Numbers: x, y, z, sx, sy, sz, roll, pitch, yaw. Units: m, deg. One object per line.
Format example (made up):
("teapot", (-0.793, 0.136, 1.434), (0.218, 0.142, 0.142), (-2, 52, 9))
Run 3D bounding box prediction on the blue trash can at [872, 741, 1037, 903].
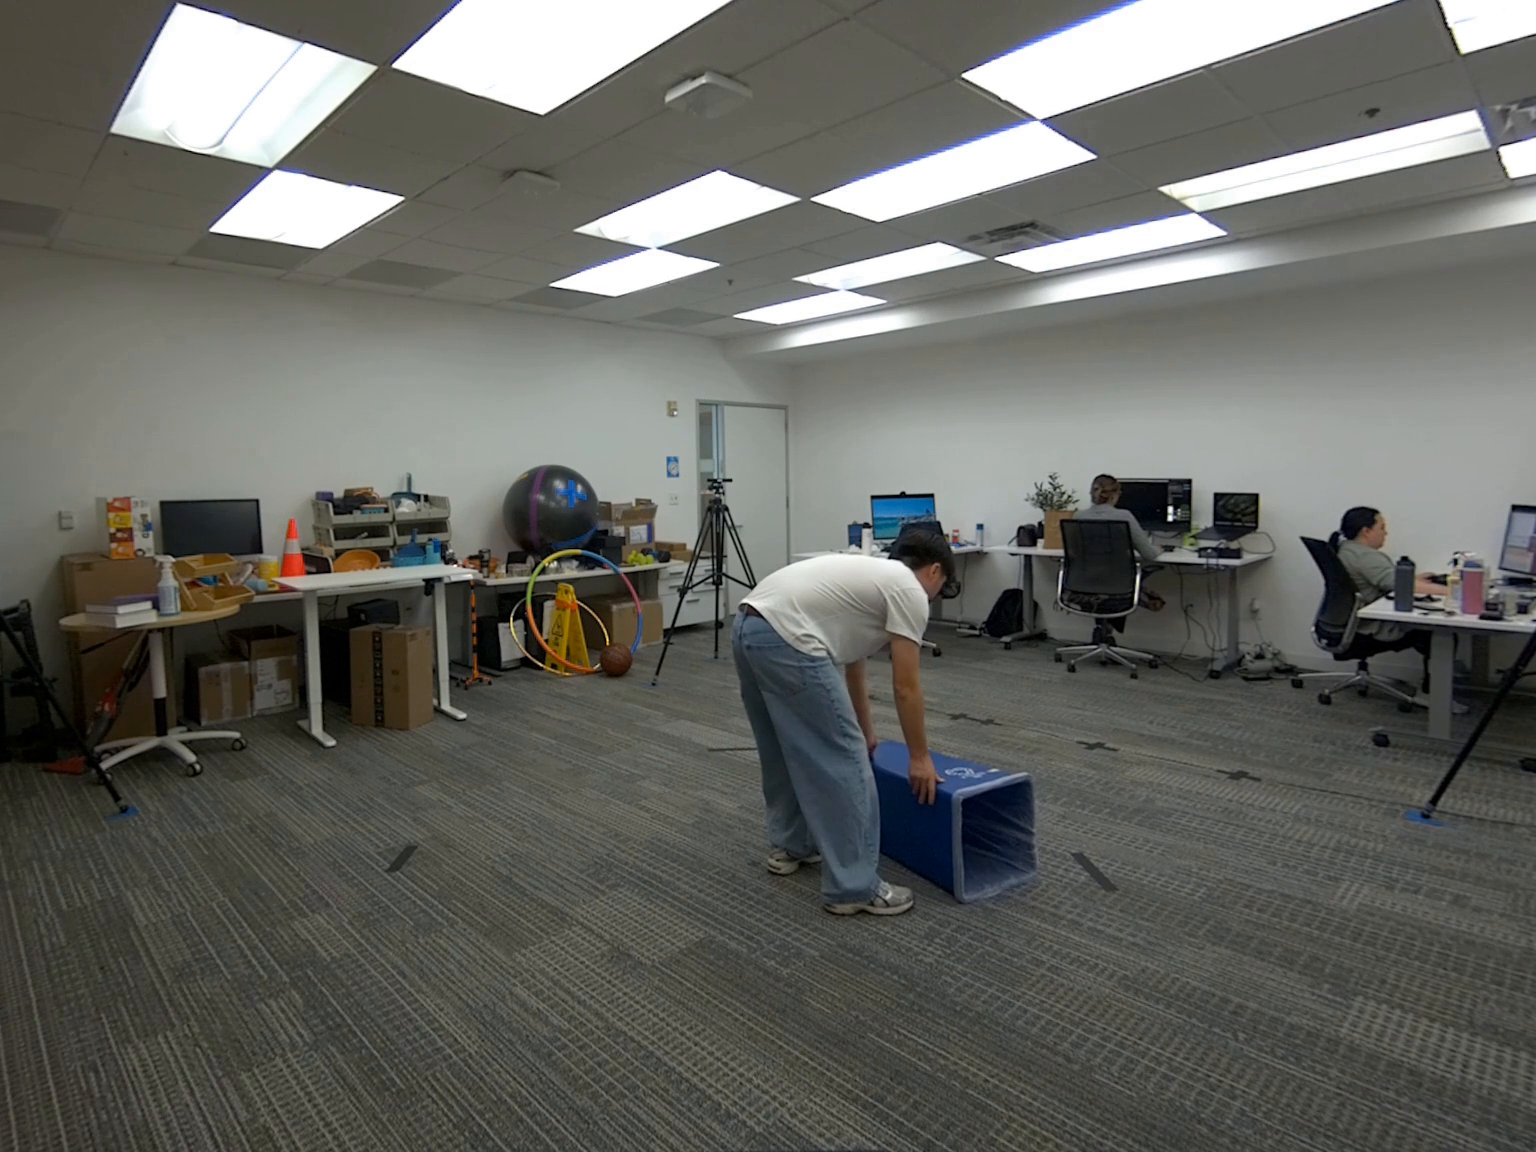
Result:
("blue trash can", (0.584, 0.863, 3.167), (0.365, 0.377, 0.732), (-5, 4, -32))
